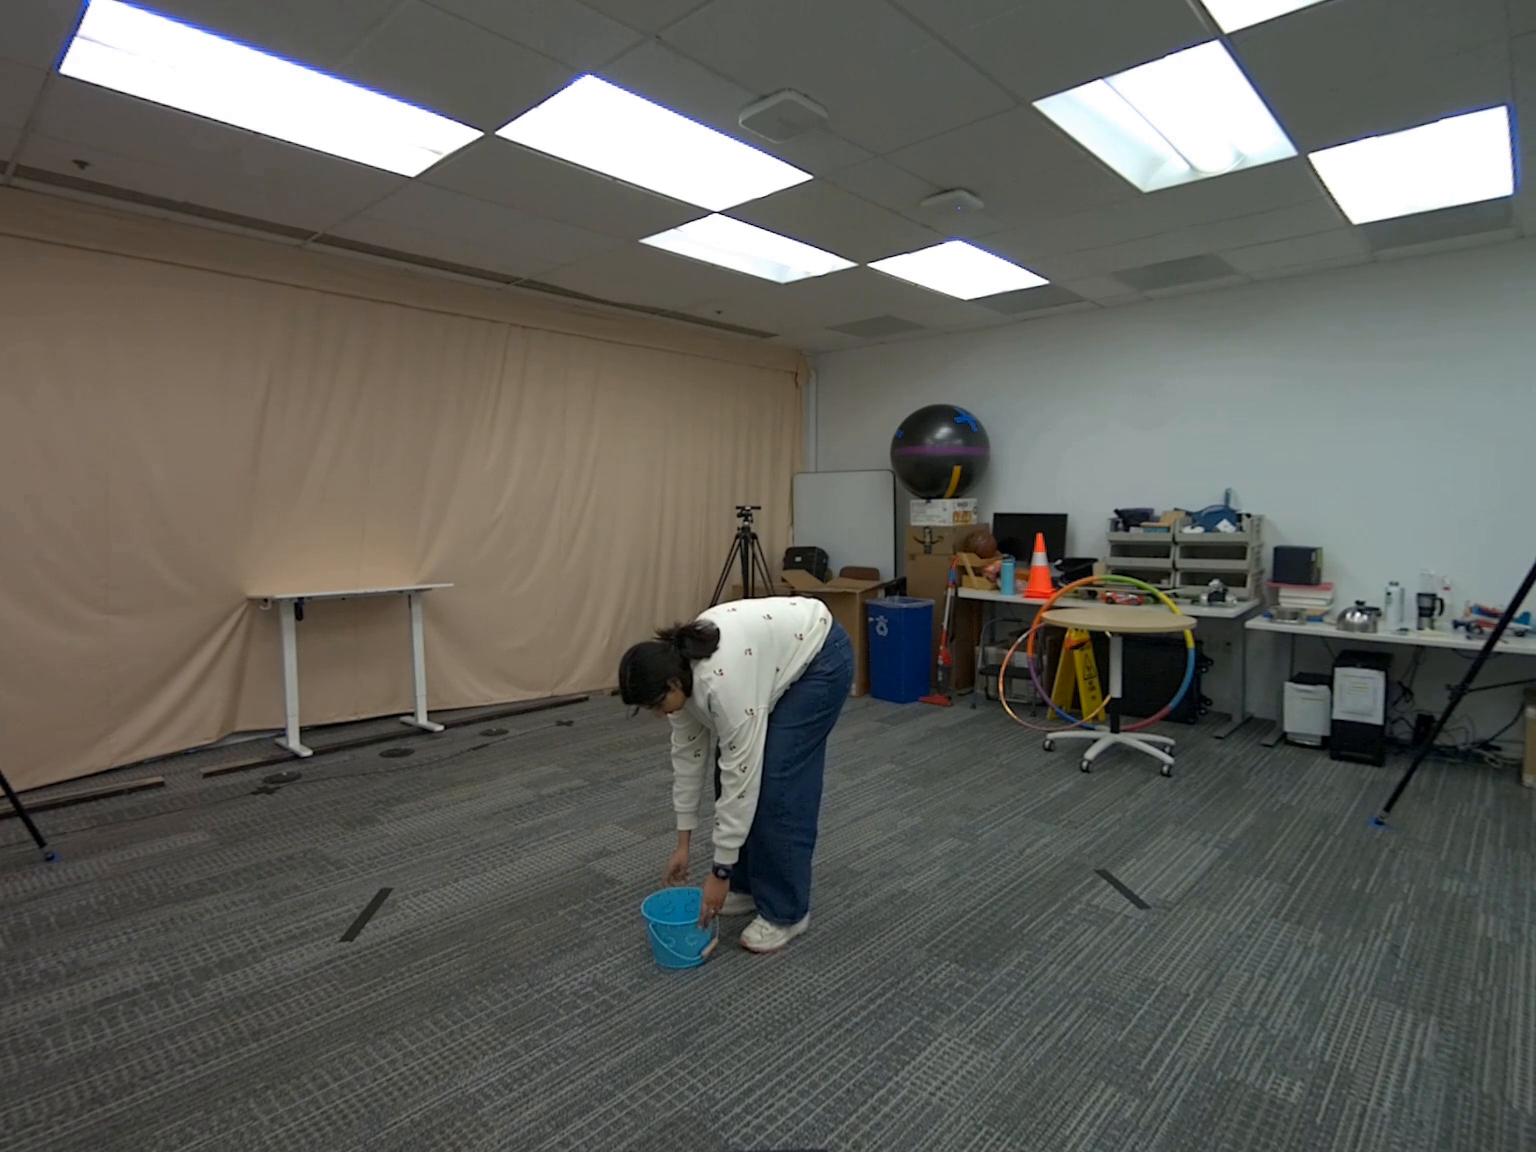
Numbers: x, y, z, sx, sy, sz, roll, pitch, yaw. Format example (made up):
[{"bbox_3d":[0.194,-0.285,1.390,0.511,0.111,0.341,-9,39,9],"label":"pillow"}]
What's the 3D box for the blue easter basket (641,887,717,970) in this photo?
[{"bbox_3d":[-0.268,1.094,2.610,0.243,0.155,0.245,-2,6,-2],"label":"blue easter basket"}]
